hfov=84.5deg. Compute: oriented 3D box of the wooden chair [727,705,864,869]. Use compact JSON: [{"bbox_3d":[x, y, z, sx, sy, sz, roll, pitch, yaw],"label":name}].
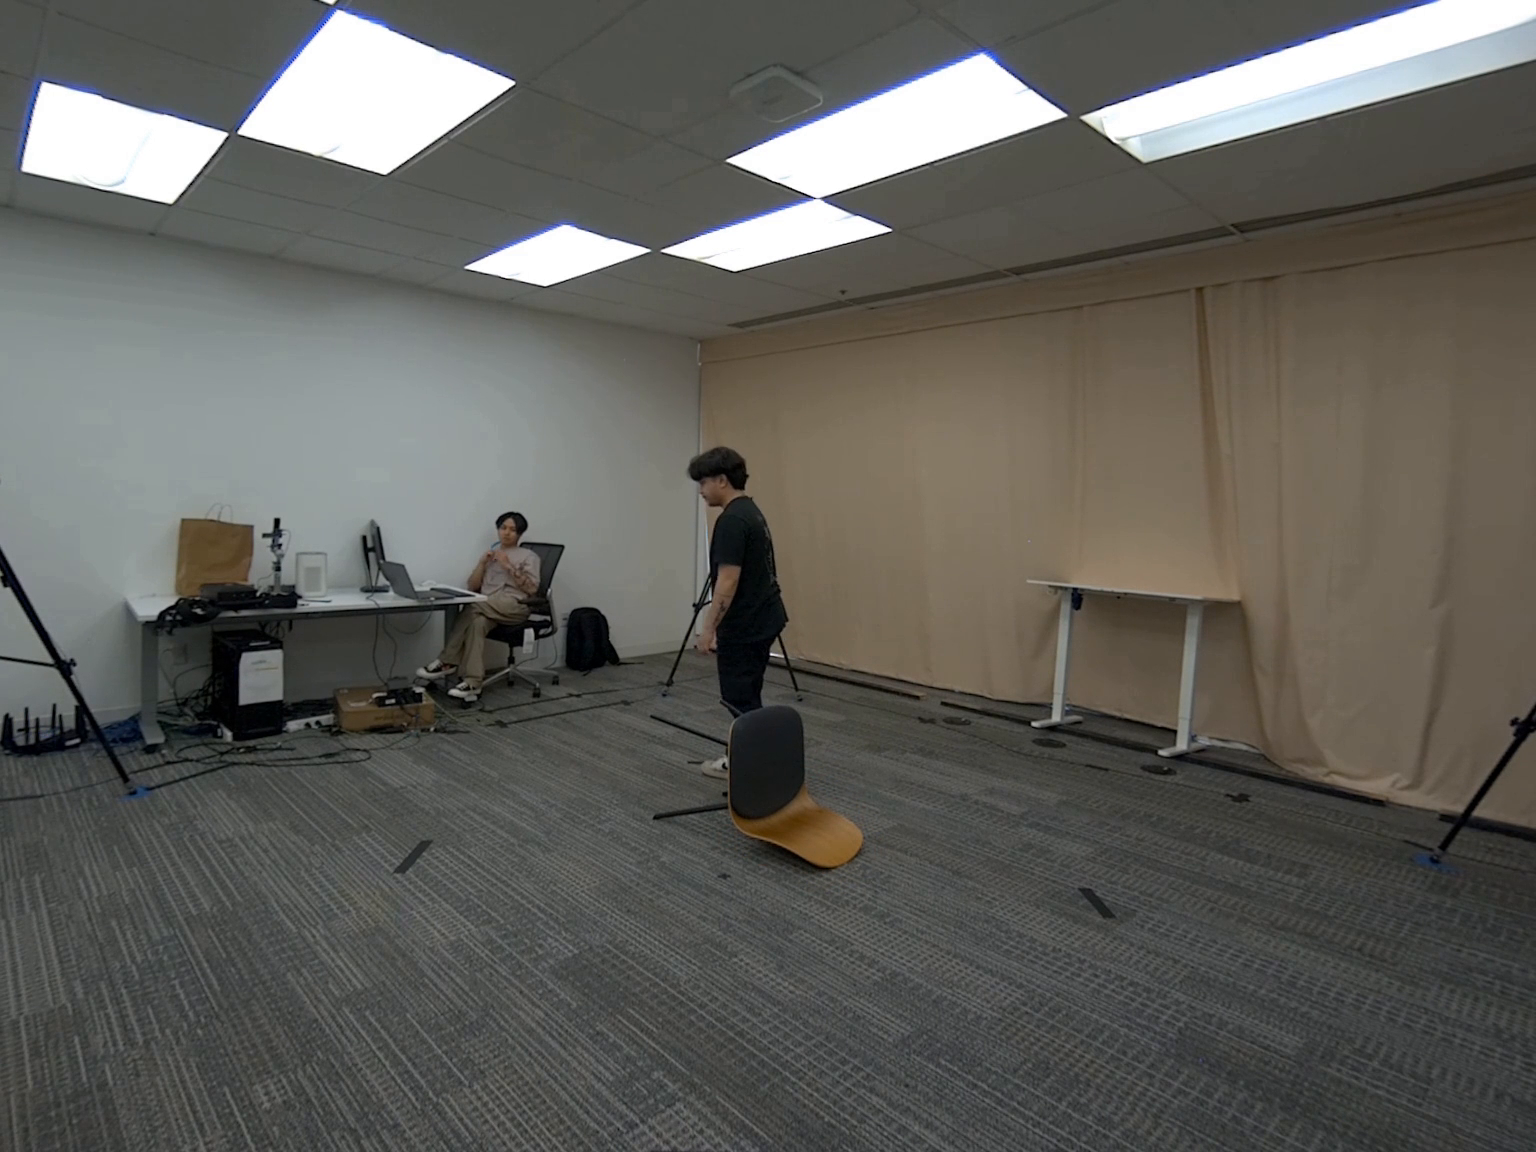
[{"bbox_3d":[-0.045,0.816,3.512,0.900,0.522,0.467,7,6,42],"label":"wooden chair"}]
